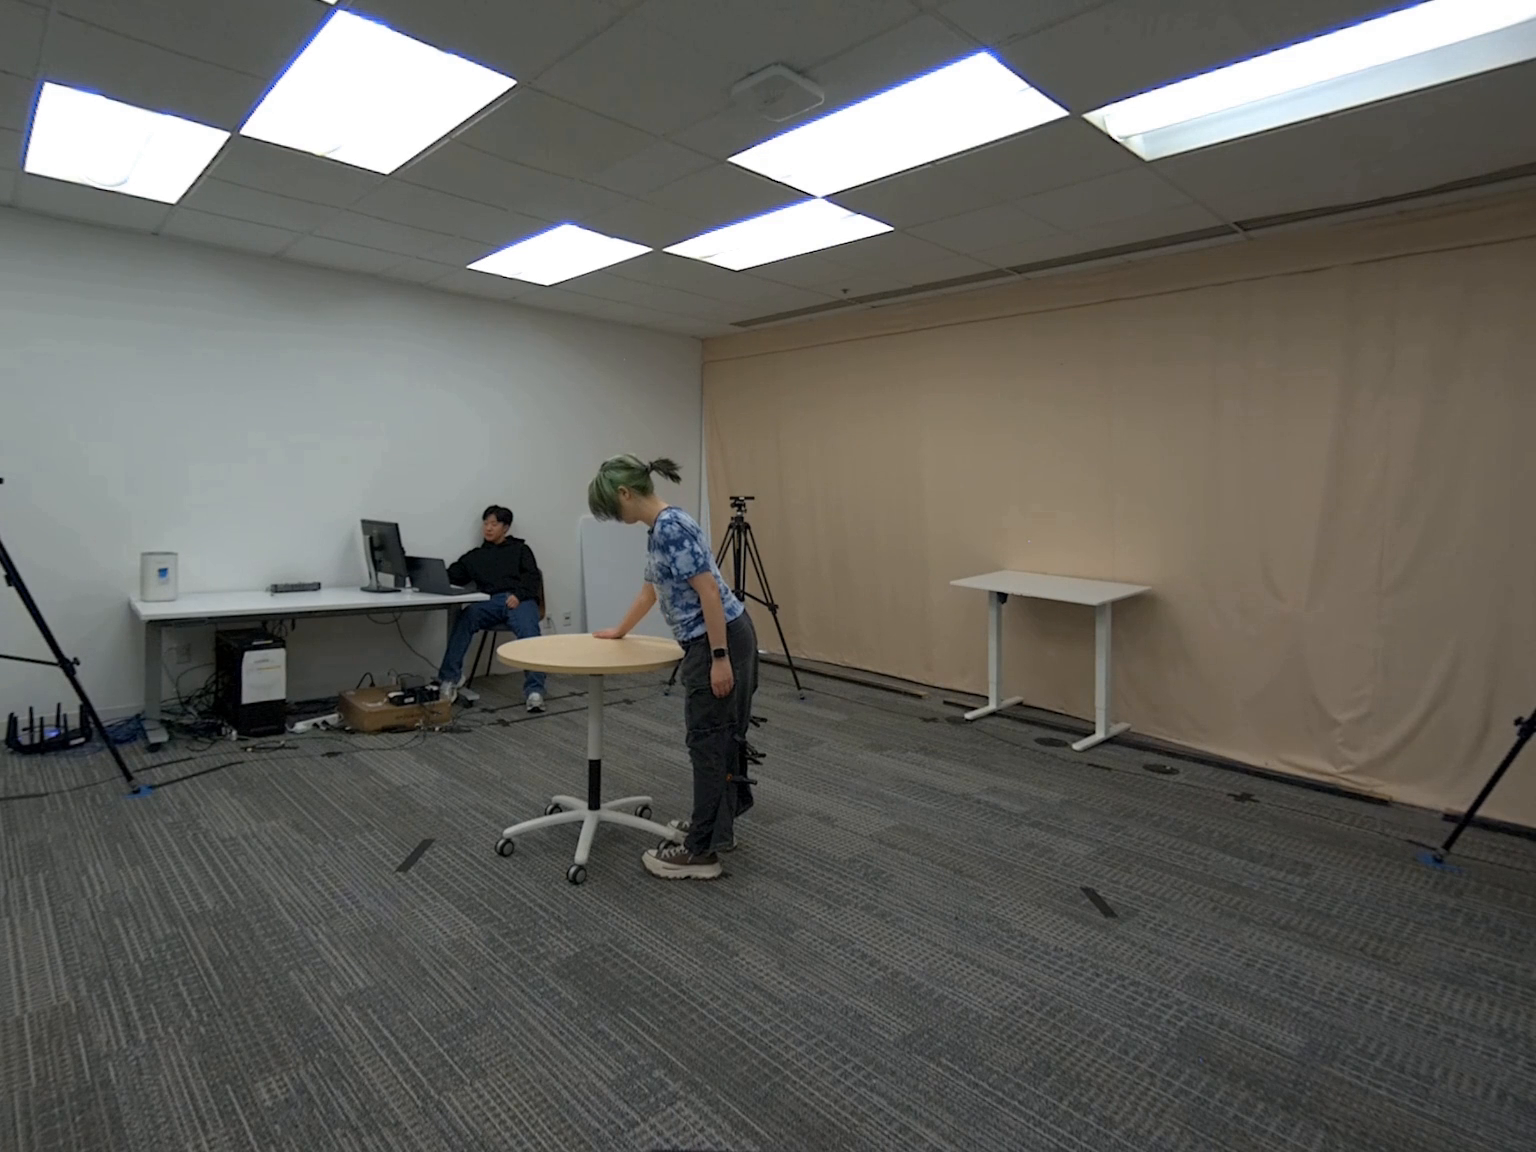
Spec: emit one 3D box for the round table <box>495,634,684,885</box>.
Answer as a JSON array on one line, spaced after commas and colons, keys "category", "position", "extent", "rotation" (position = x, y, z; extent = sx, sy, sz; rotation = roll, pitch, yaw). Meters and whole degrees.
[{"category": "round table", "position": [-0.680, 0.675, 3.350], "extent": [0.784, 0.784, 0.788], "rotation": [1, 4, -1]}]
